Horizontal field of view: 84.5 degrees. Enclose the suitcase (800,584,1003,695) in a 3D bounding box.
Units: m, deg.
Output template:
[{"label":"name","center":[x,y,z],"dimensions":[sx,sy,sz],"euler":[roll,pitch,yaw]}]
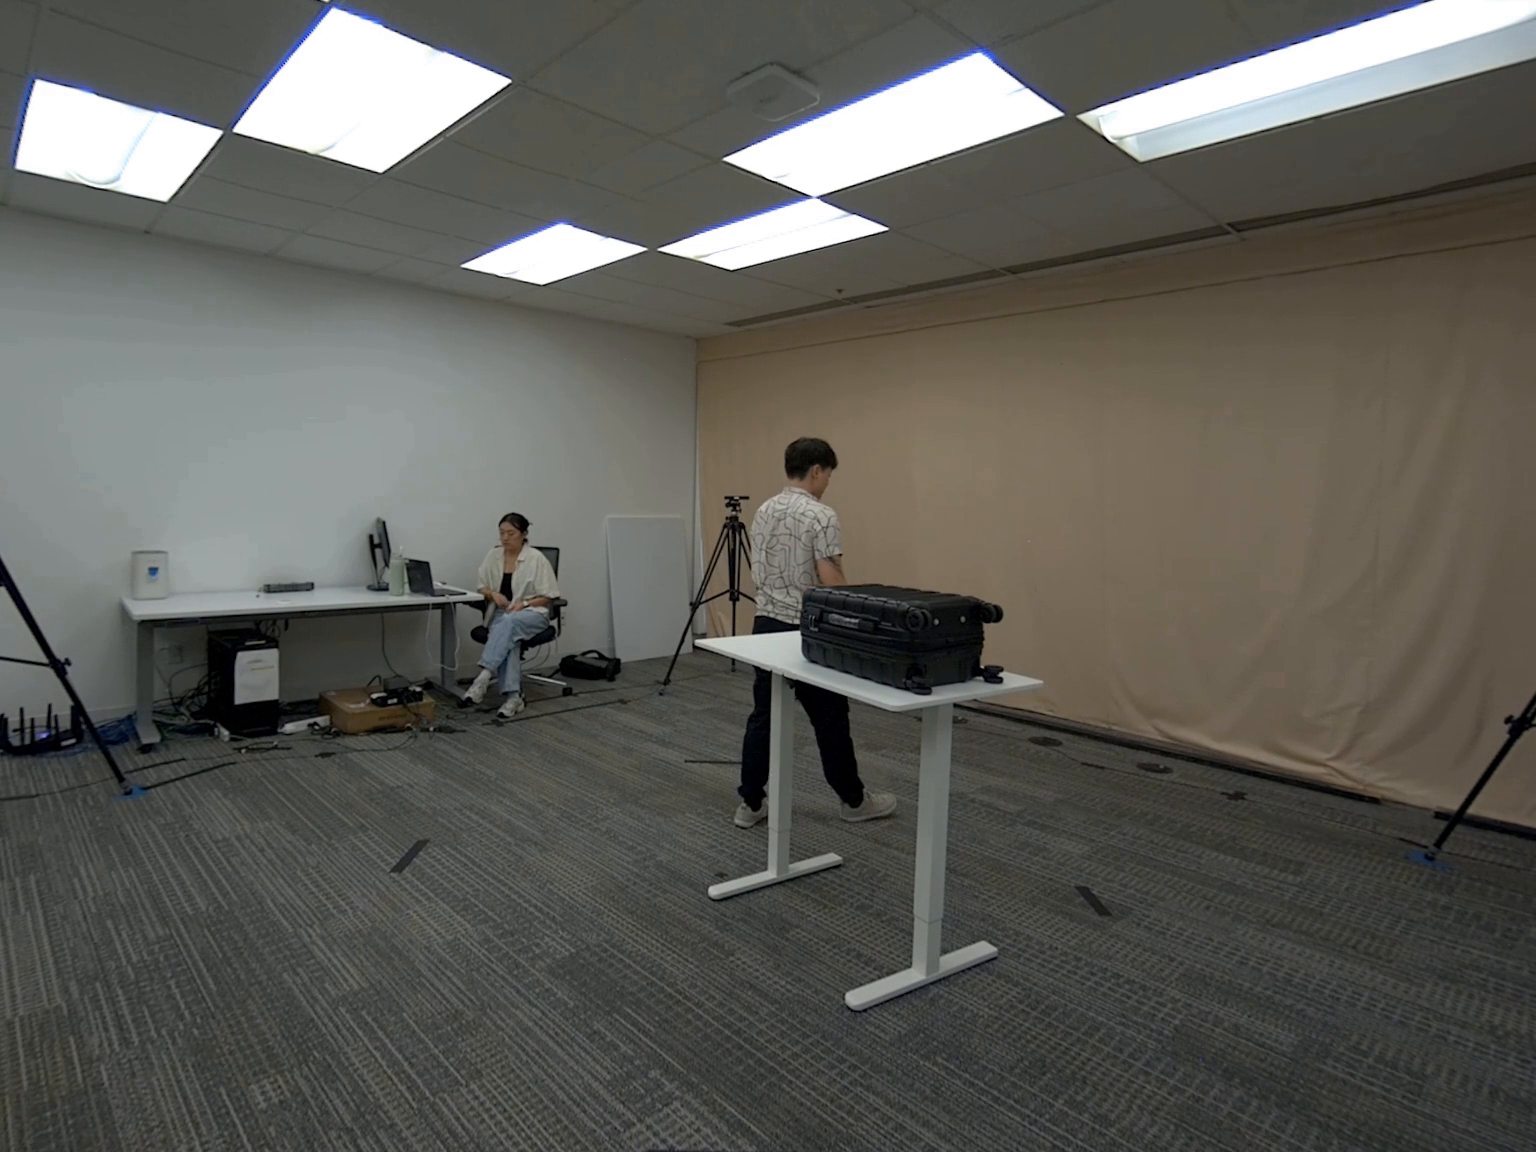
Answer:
[{"label":"suitcase","center":[0.358,0.172,2.533],"dimensions":[0.367,0.247,0.563],"euler":[-3,7,-36]}]
